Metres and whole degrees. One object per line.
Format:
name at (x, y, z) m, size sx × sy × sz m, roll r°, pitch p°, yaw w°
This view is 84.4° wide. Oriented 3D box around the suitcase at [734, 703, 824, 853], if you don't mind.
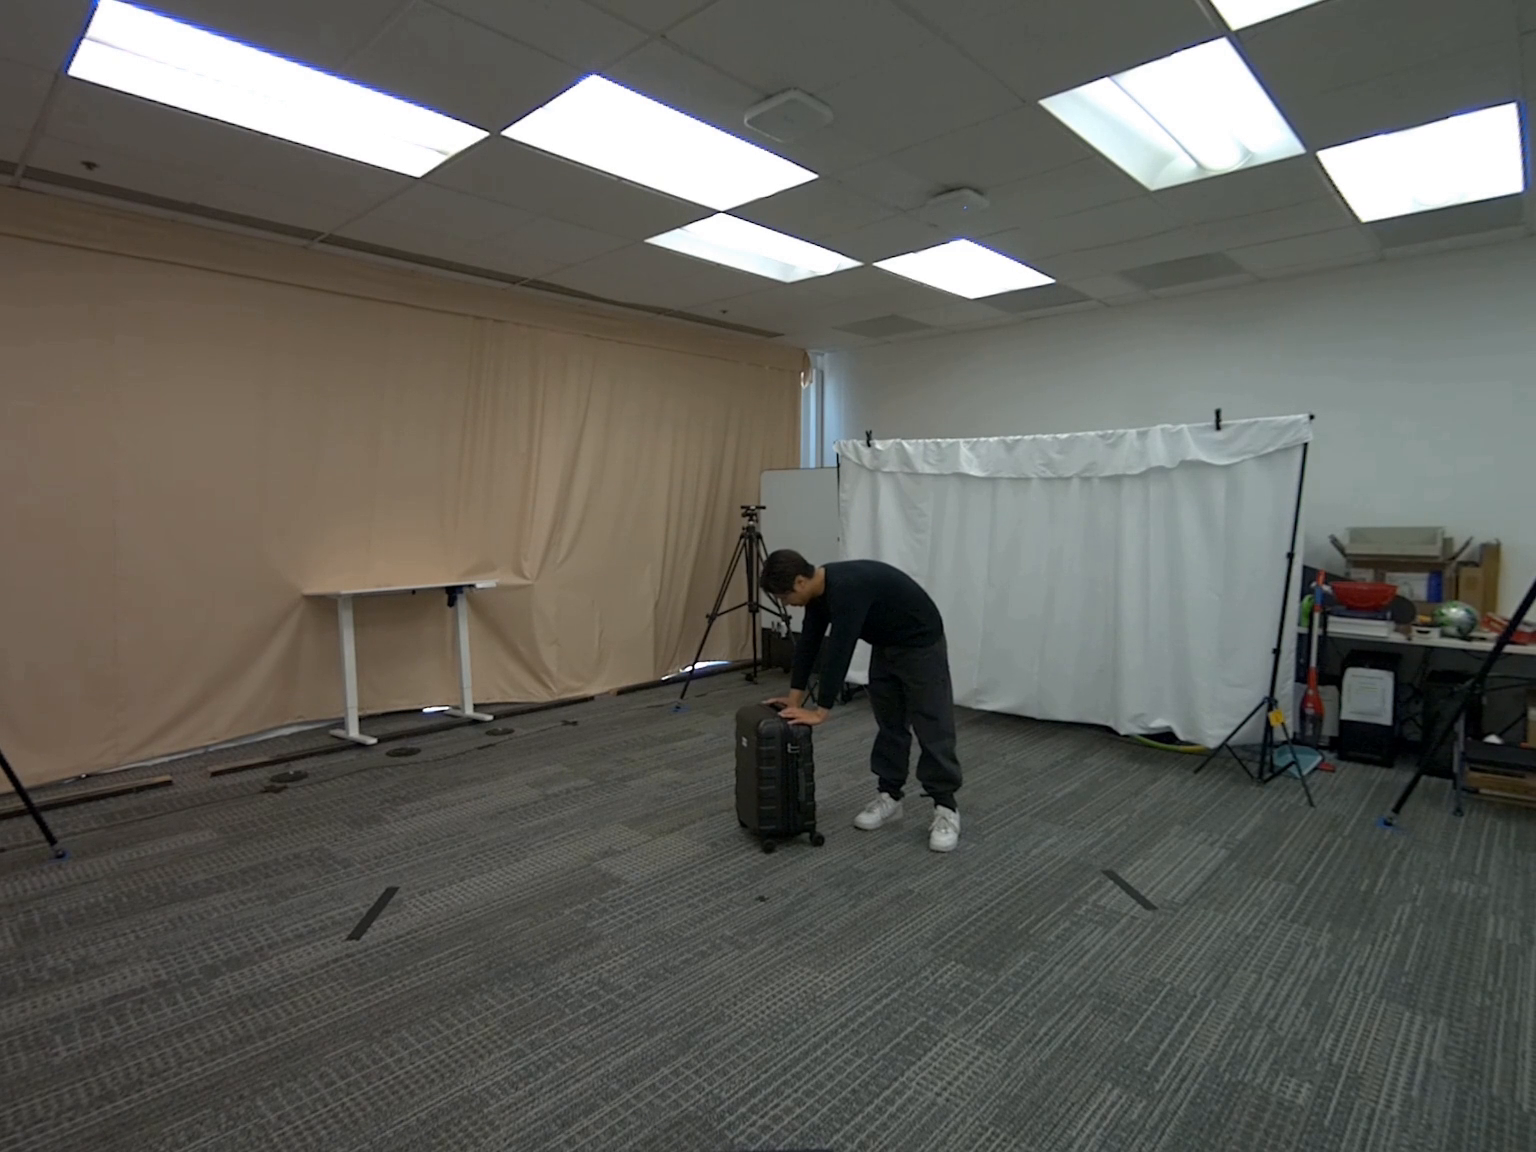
suitcase at (0.029, 0.823, 3.538) m, size 0.243 × 0.548 × 0.383 m, roll -3°, pitch 4°, yaw -20°
